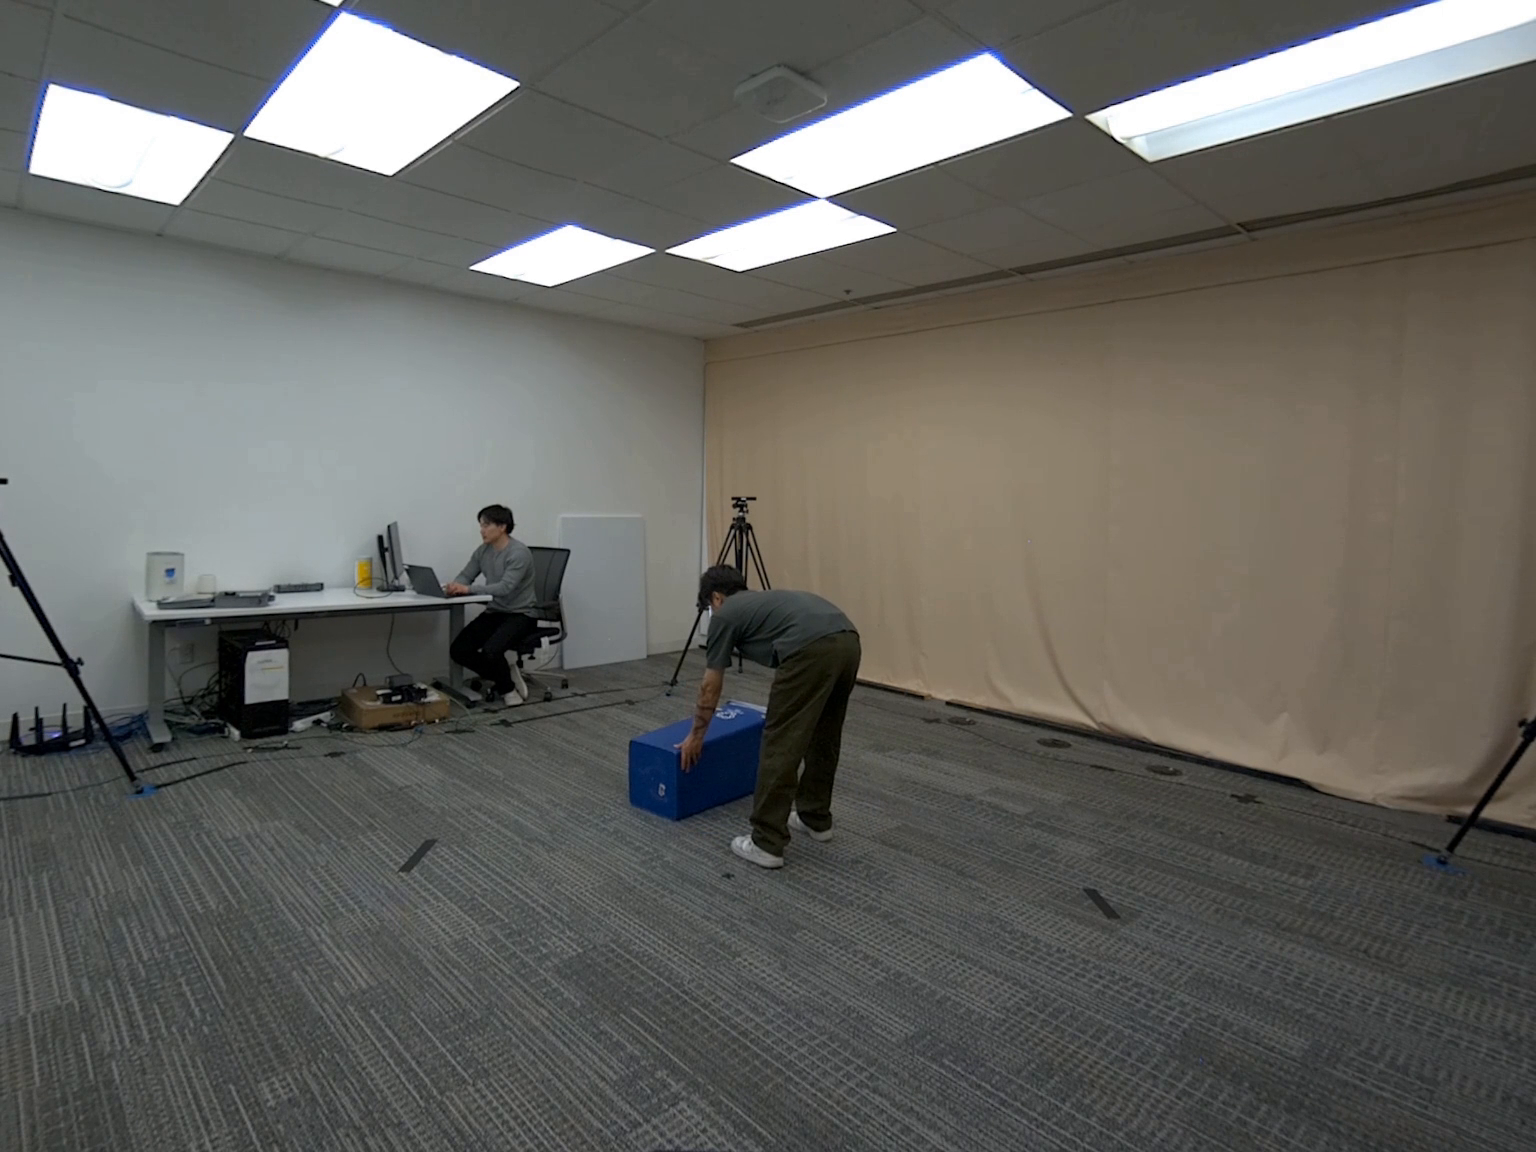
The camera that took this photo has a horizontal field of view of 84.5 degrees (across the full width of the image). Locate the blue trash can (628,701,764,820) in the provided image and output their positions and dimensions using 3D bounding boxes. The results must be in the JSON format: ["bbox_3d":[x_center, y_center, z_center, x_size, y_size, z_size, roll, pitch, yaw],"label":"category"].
[{"bbox_3d":[-0.294,0.856,3.964,0.388,0.372,0.698,6,8,39],"label":"blue trash can"}]
